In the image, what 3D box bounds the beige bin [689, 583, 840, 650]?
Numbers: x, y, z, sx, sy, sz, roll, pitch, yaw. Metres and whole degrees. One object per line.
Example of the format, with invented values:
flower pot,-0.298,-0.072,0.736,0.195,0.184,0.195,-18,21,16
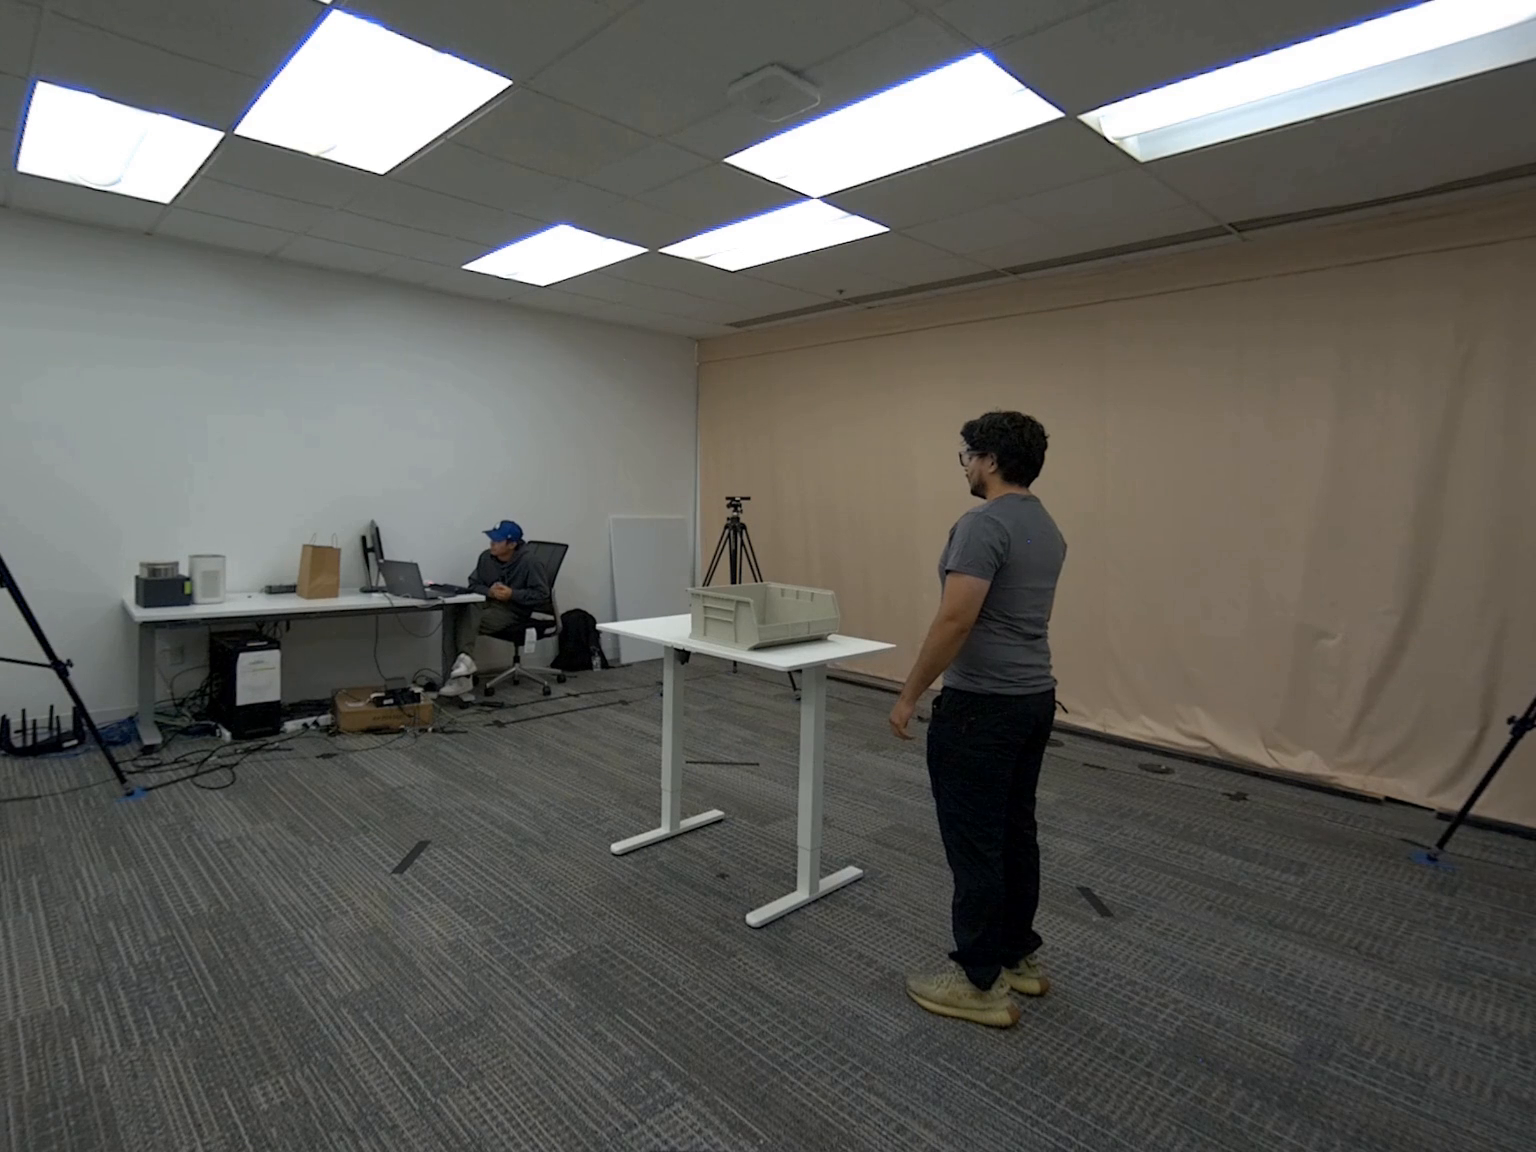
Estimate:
beige bin,-0.021,0.144,3.052,0.413,0.188,0.387,-5,7,-43
